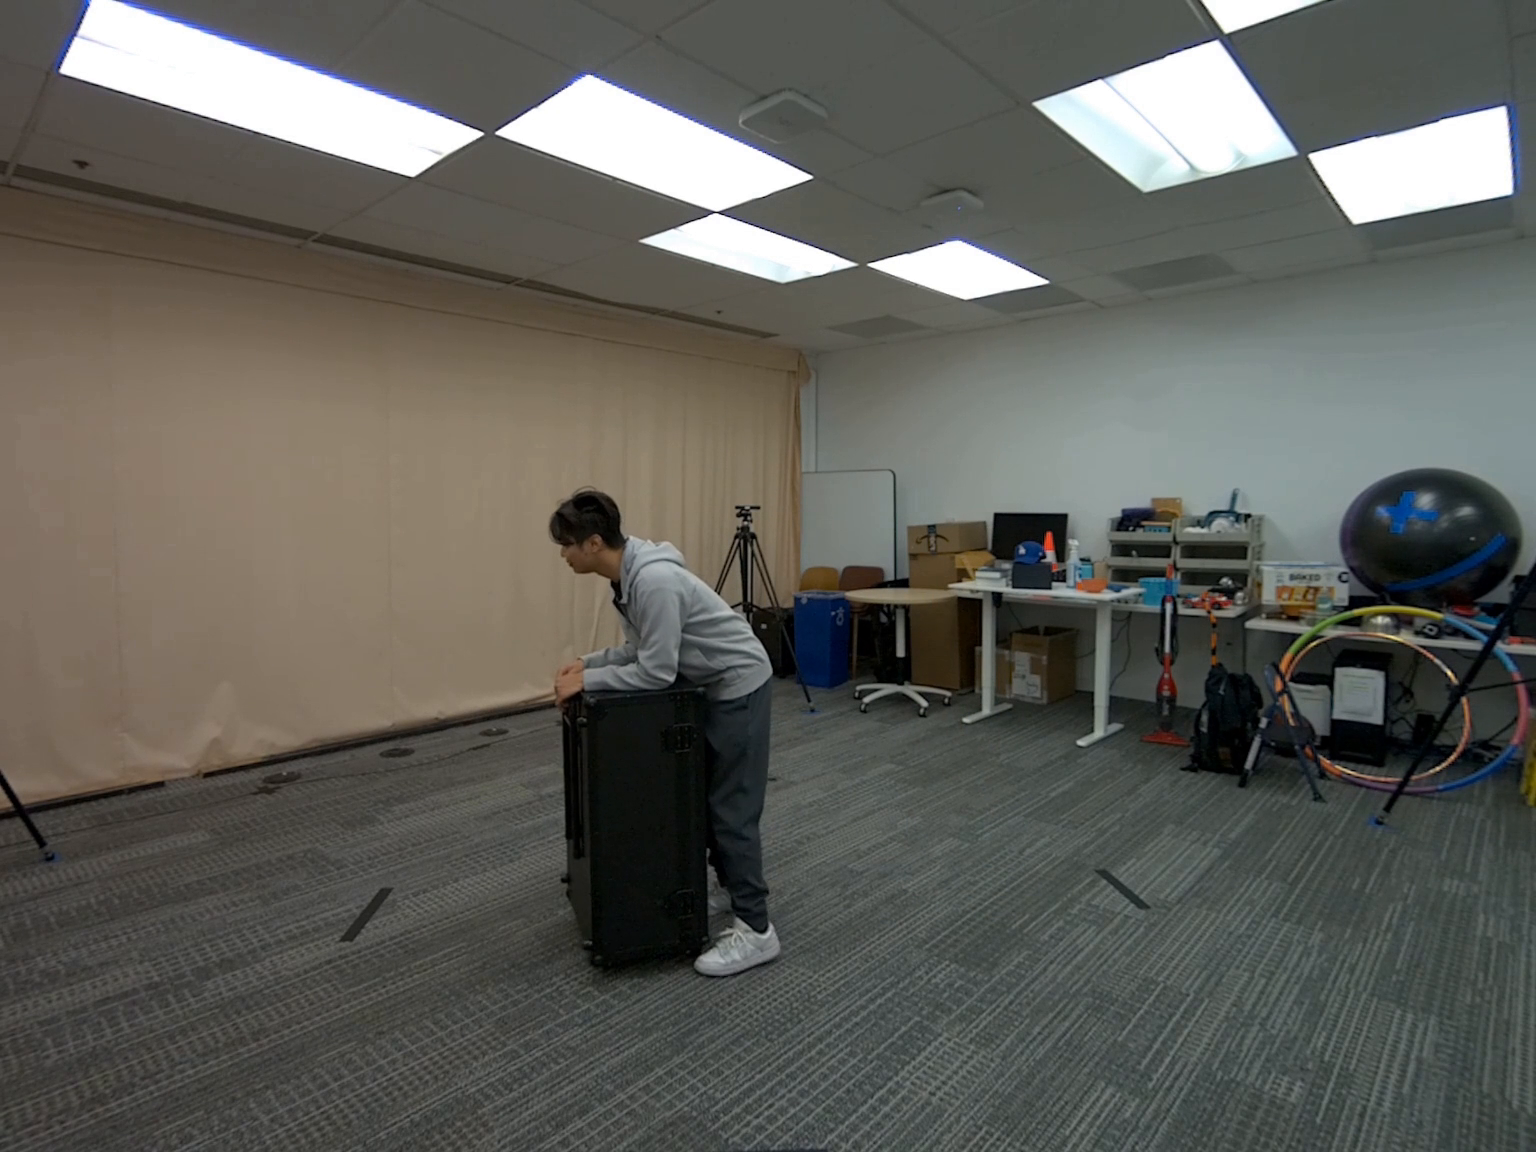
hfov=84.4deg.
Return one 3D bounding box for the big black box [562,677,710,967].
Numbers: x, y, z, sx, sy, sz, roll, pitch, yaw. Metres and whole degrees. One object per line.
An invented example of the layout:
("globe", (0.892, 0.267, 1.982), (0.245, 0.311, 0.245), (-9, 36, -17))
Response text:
("big black box", (-0.456, 0.750, 2.667), (0.389, 0.860, 0.532), (-2, 3, -20))
